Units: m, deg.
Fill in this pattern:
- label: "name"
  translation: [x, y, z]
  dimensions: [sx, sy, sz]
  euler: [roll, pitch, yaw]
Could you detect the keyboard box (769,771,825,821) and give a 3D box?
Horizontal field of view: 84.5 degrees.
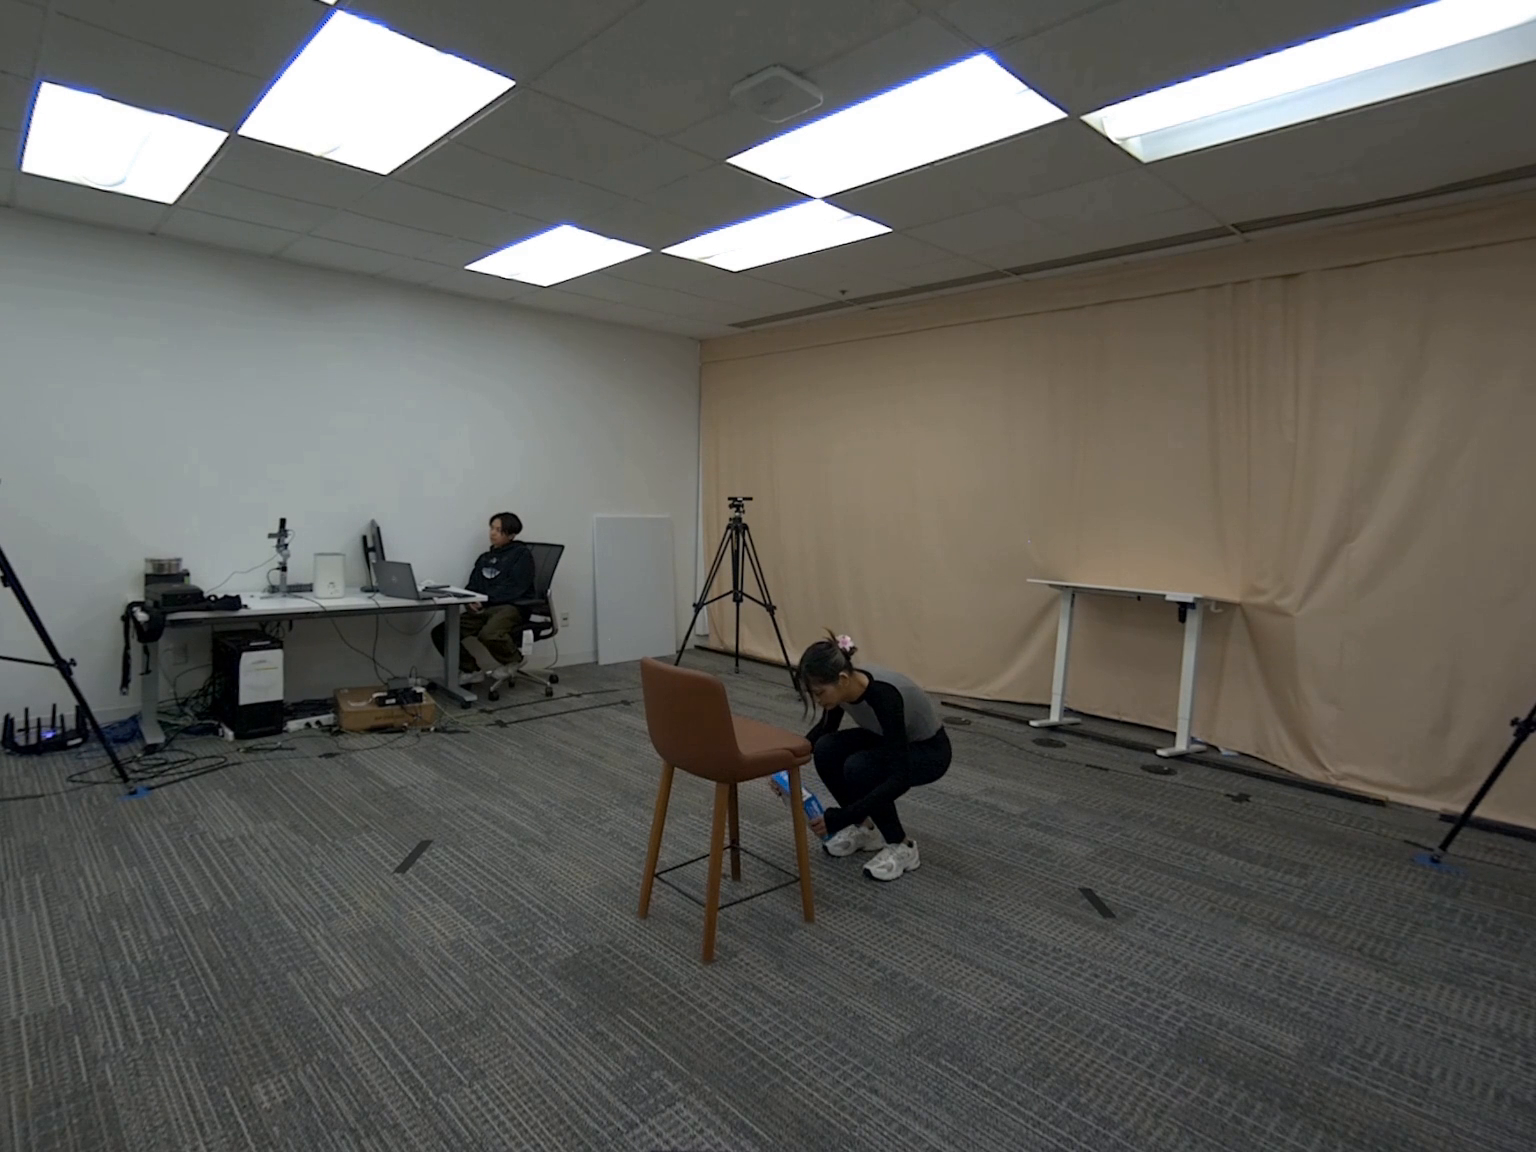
- label: "keyboard box"
  translation: [0.115, 0.835, 3.130]
  dimensions: [0.059, 0.174, 0.443]
  euler: [-31, 11, -13]
